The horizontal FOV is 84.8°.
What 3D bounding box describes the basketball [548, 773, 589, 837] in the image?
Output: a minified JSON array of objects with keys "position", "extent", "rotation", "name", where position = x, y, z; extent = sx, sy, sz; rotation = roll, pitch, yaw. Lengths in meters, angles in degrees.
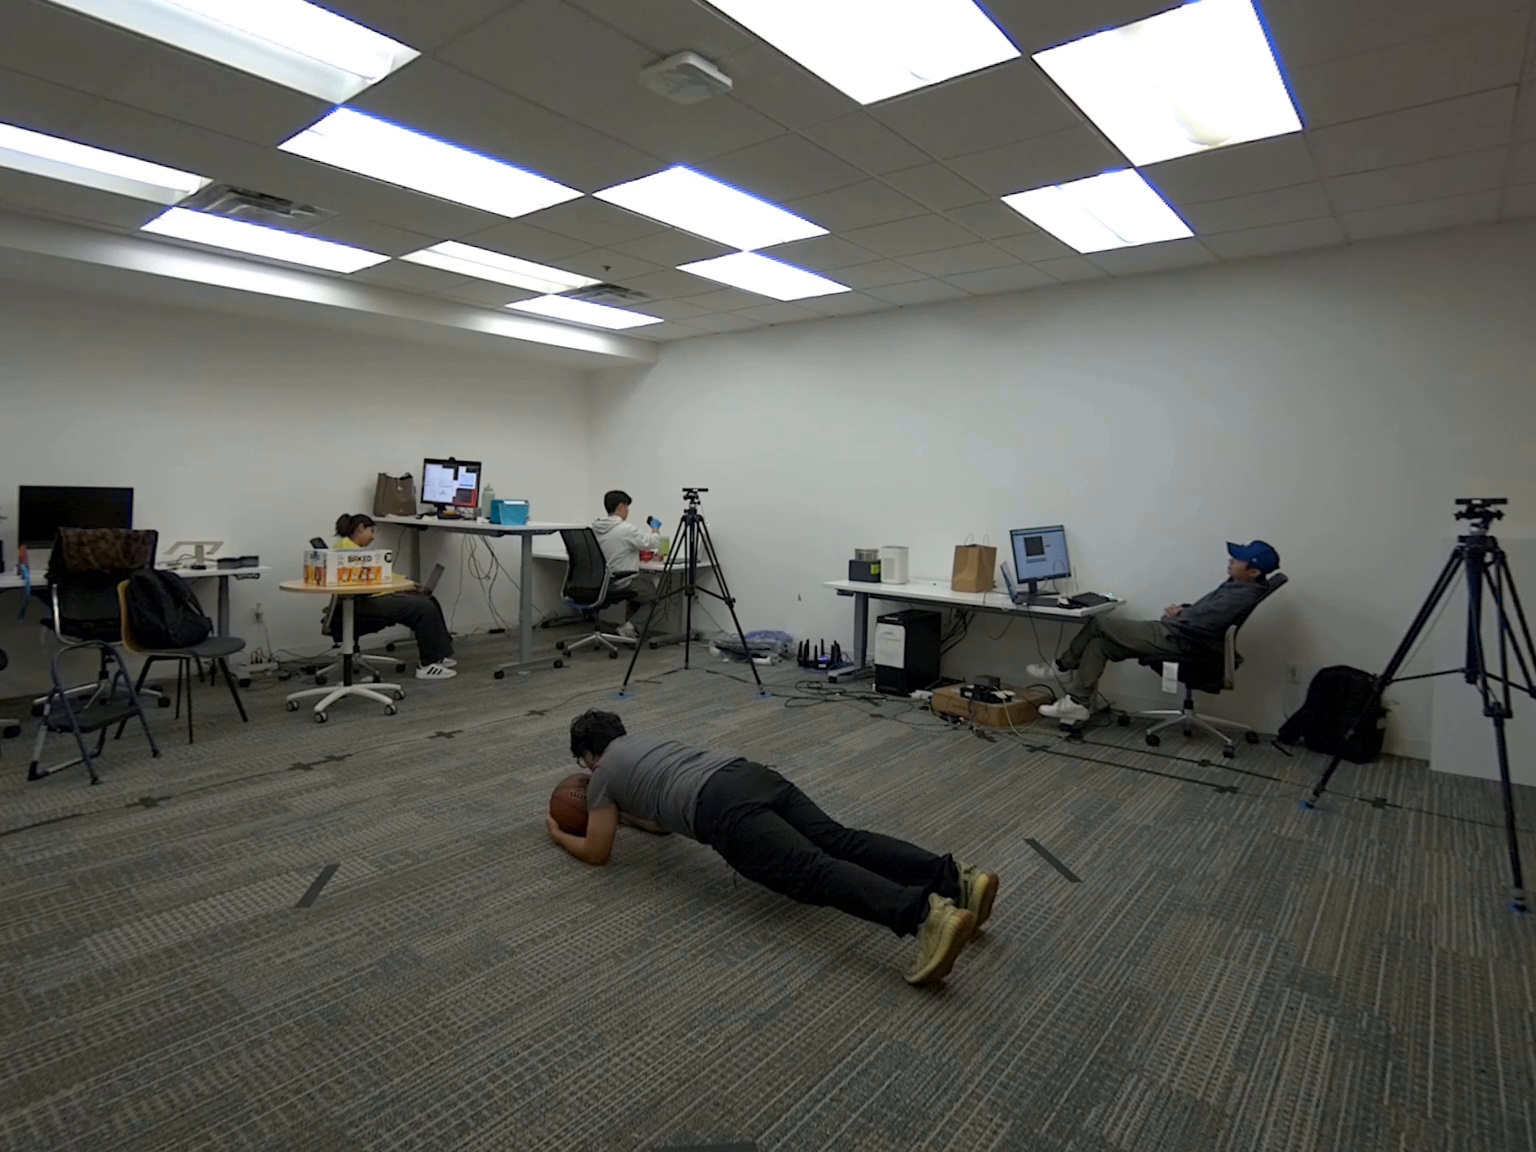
[{"position":[-0.757,0.906,3.401],"extent":[0.235,0.235,0.237],"rotation":[1,4,-2],"name":"basketball"}]
